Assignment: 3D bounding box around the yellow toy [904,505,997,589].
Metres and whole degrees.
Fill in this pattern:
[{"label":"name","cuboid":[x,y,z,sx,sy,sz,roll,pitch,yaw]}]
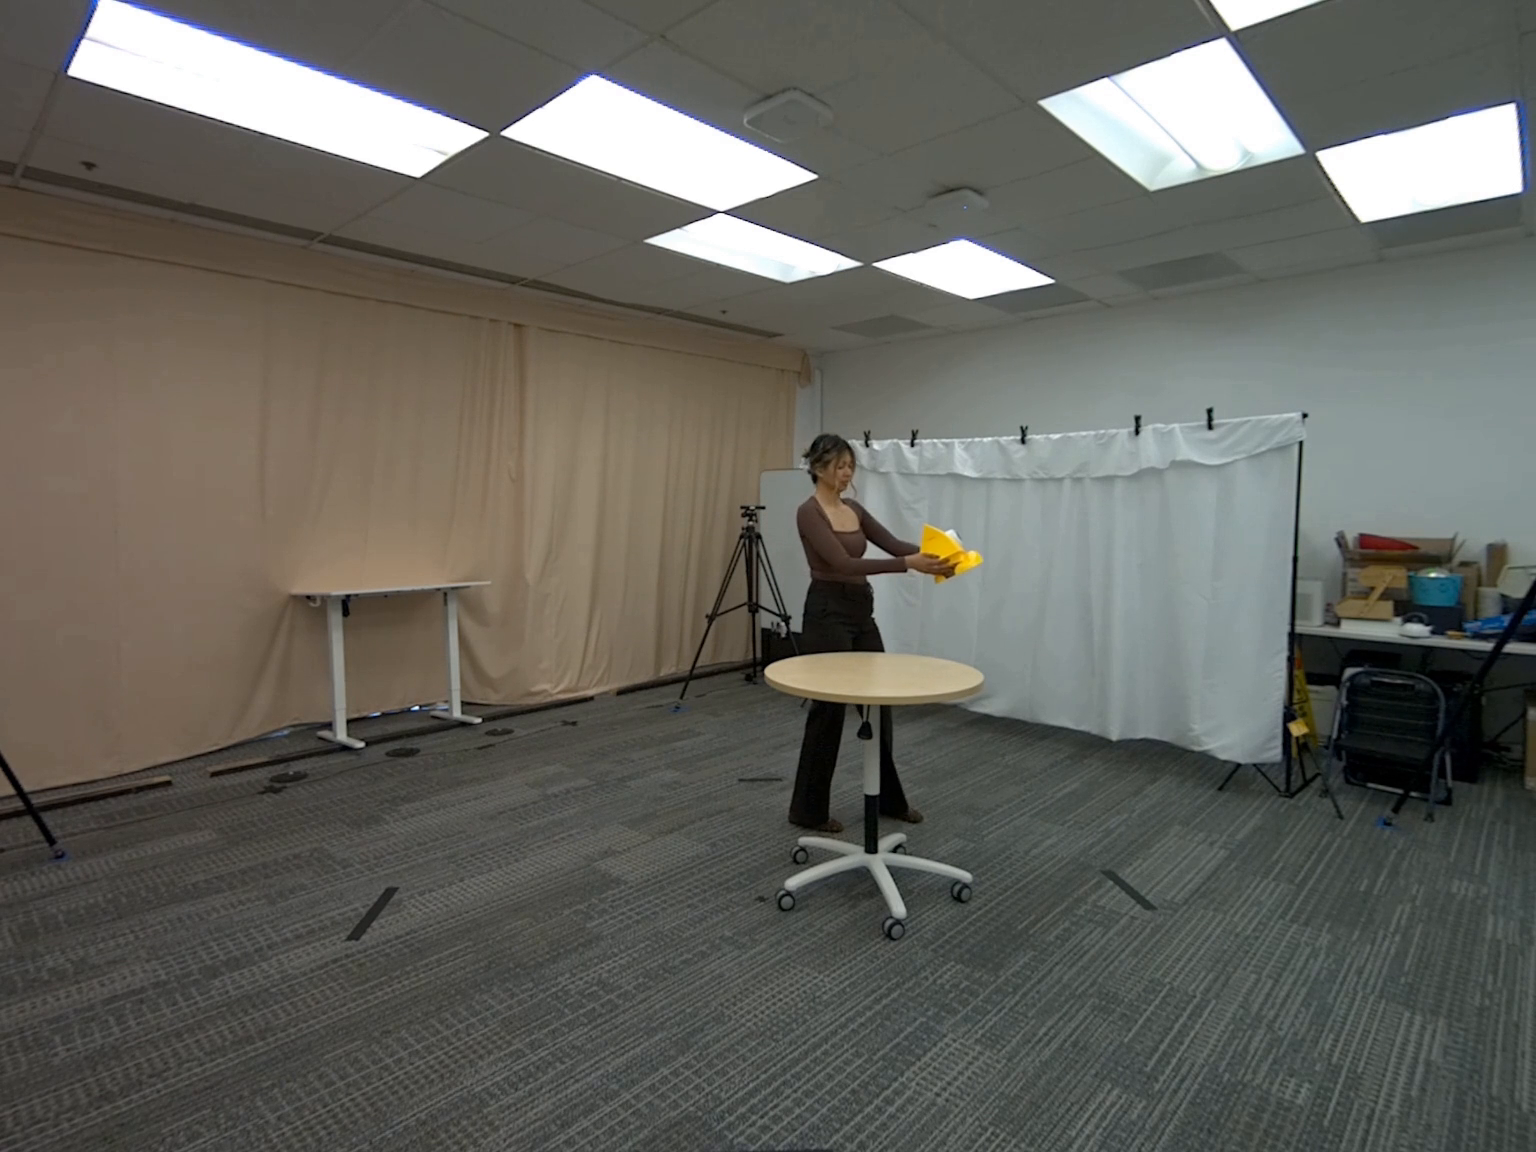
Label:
[{"label":"yellow toy","cuboid":[0.718,-0.117,3.342,0.188,0.232,0.208,-18,-10,-46]}]
